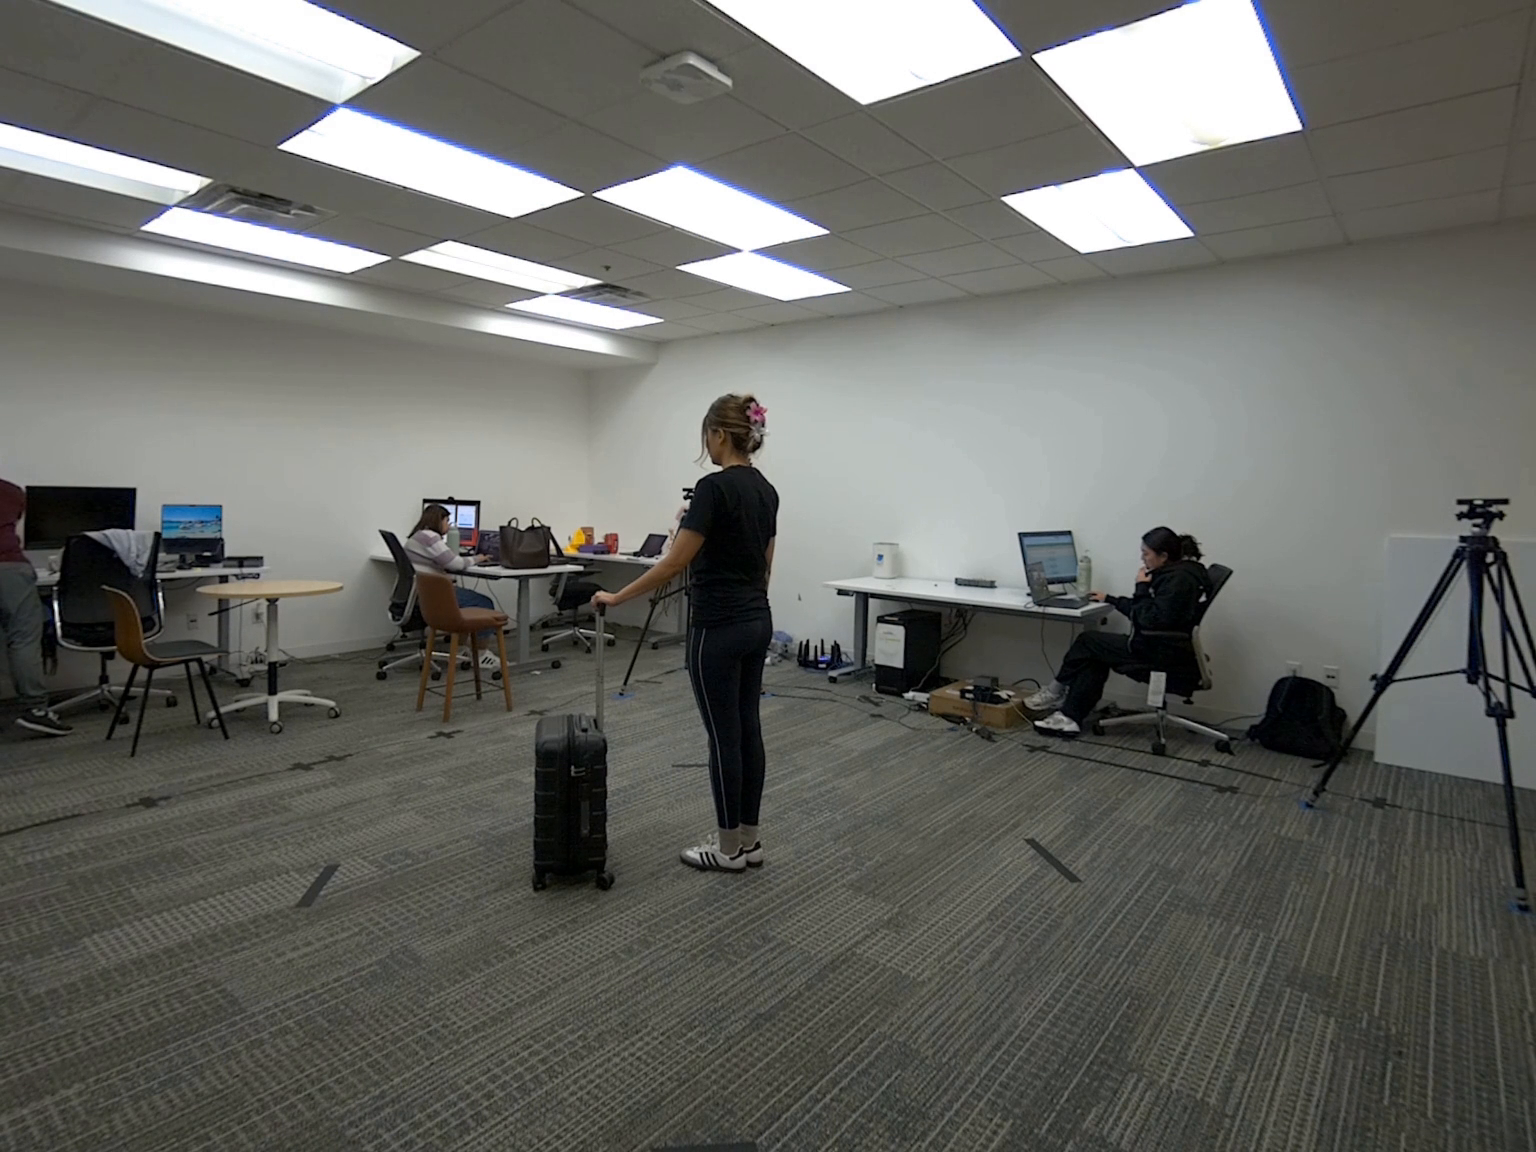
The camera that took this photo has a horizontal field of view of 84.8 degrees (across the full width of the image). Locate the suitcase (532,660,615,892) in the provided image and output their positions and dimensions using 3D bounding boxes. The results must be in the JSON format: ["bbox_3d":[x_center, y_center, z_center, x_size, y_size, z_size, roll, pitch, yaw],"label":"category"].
[{"bbox_3d":[-0.728,0.590,3.061,0.254,0.976,0.389,-3,3,-11],"label":"suitcase"}]
